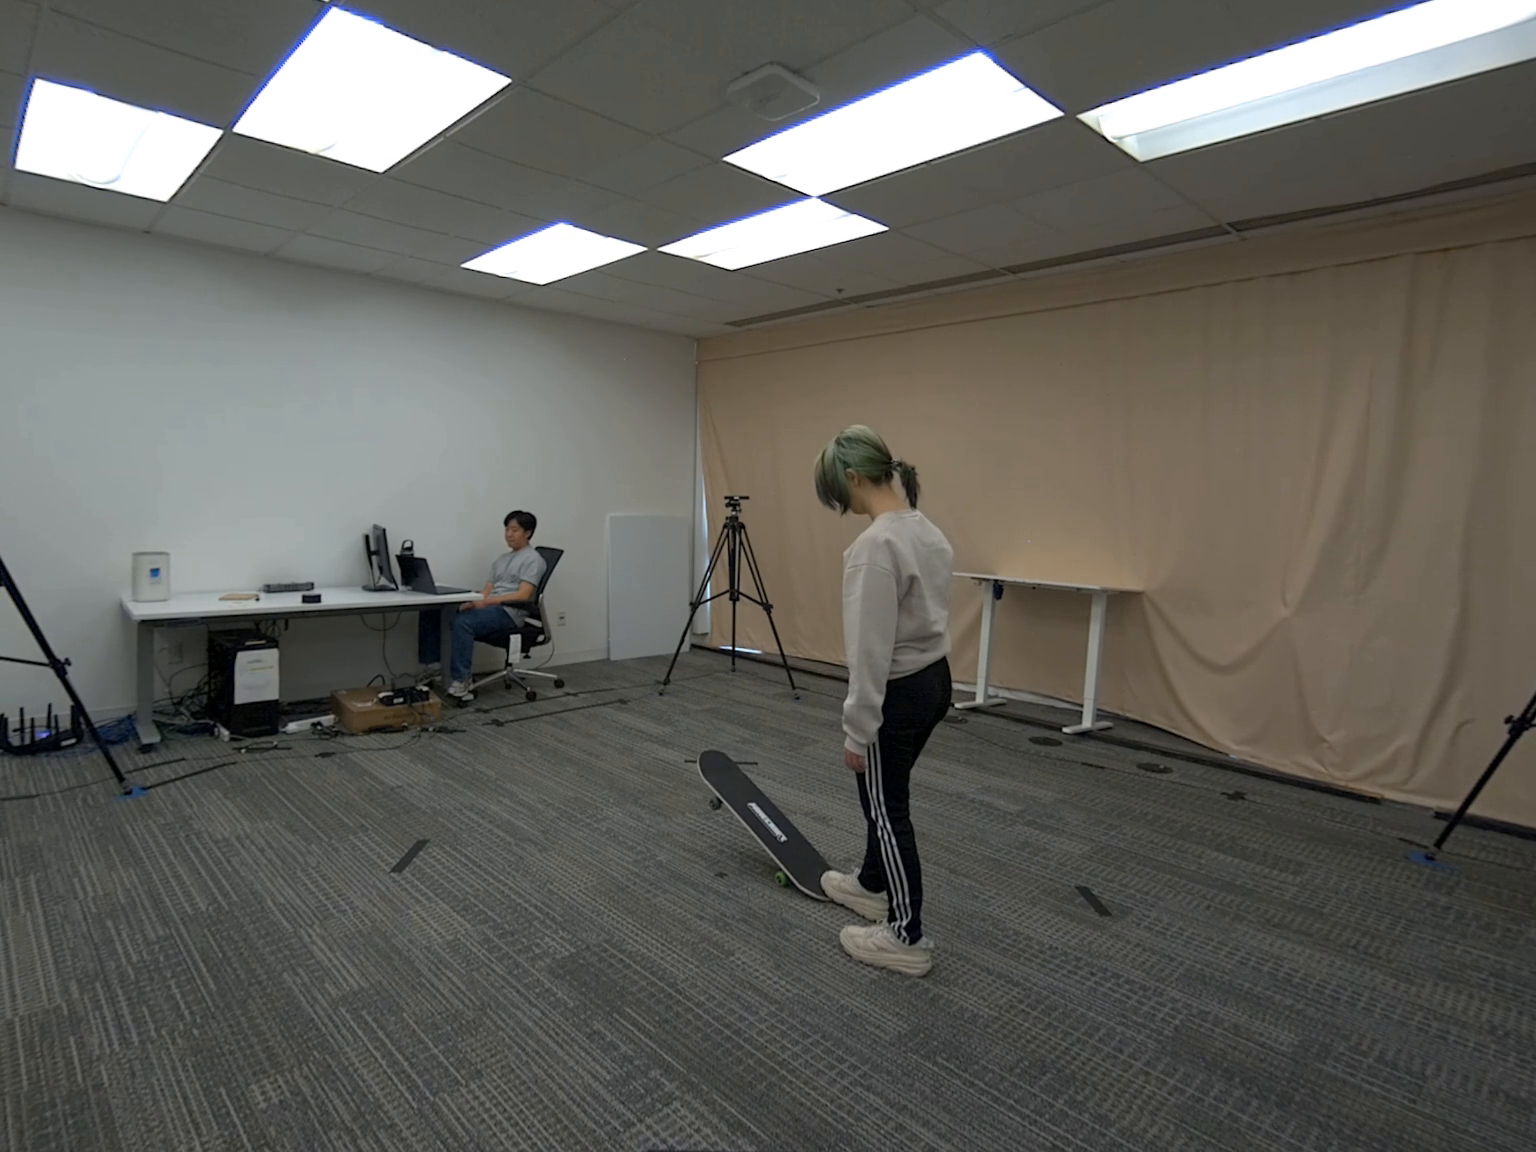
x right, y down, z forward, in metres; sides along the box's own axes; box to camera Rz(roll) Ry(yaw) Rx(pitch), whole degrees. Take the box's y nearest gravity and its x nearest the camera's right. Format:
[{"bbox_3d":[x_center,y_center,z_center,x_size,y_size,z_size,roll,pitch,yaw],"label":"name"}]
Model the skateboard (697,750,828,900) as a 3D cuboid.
[{"bbox_3d":[-0.014,0.963,3.187,0.189,0.109,0.810,-3,33,-44],"label":"skateboard"}]
